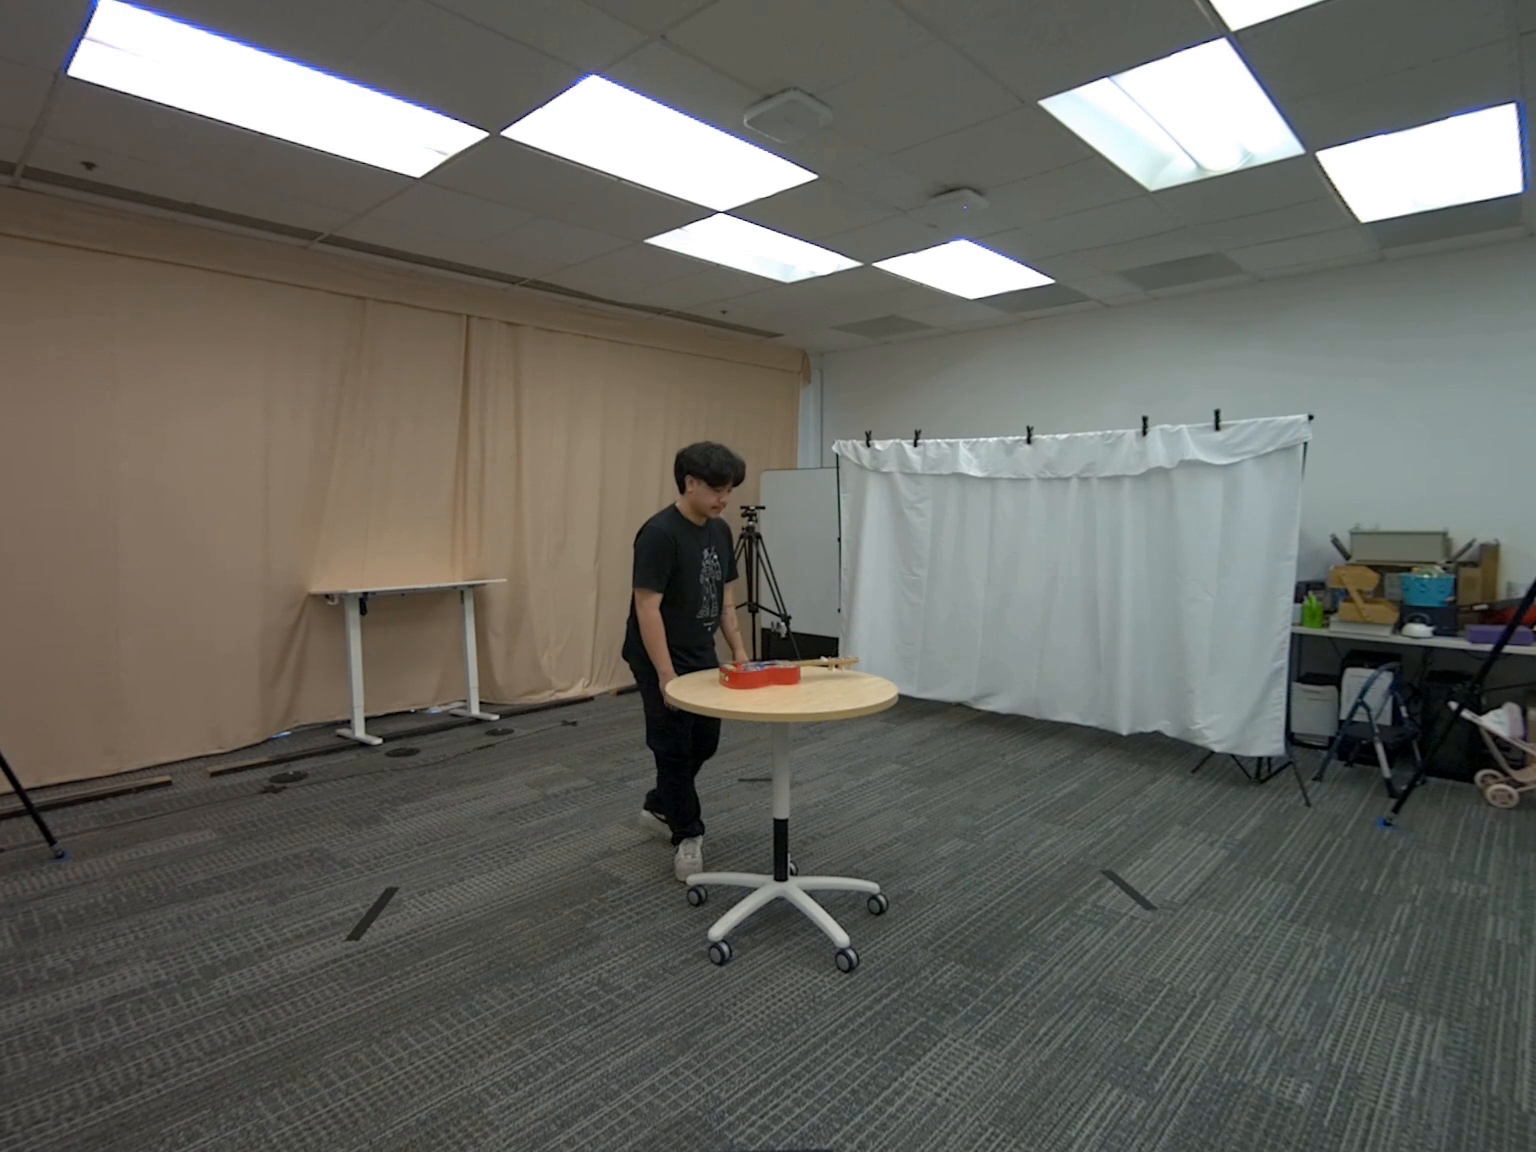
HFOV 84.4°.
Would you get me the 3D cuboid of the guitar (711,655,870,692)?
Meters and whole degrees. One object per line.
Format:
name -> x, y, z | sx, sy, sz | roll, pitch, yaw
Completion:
guitar -> 0.067, 0.323, 2.845 | 0.493, 0.070, 0.195 | 0, 5, -8
